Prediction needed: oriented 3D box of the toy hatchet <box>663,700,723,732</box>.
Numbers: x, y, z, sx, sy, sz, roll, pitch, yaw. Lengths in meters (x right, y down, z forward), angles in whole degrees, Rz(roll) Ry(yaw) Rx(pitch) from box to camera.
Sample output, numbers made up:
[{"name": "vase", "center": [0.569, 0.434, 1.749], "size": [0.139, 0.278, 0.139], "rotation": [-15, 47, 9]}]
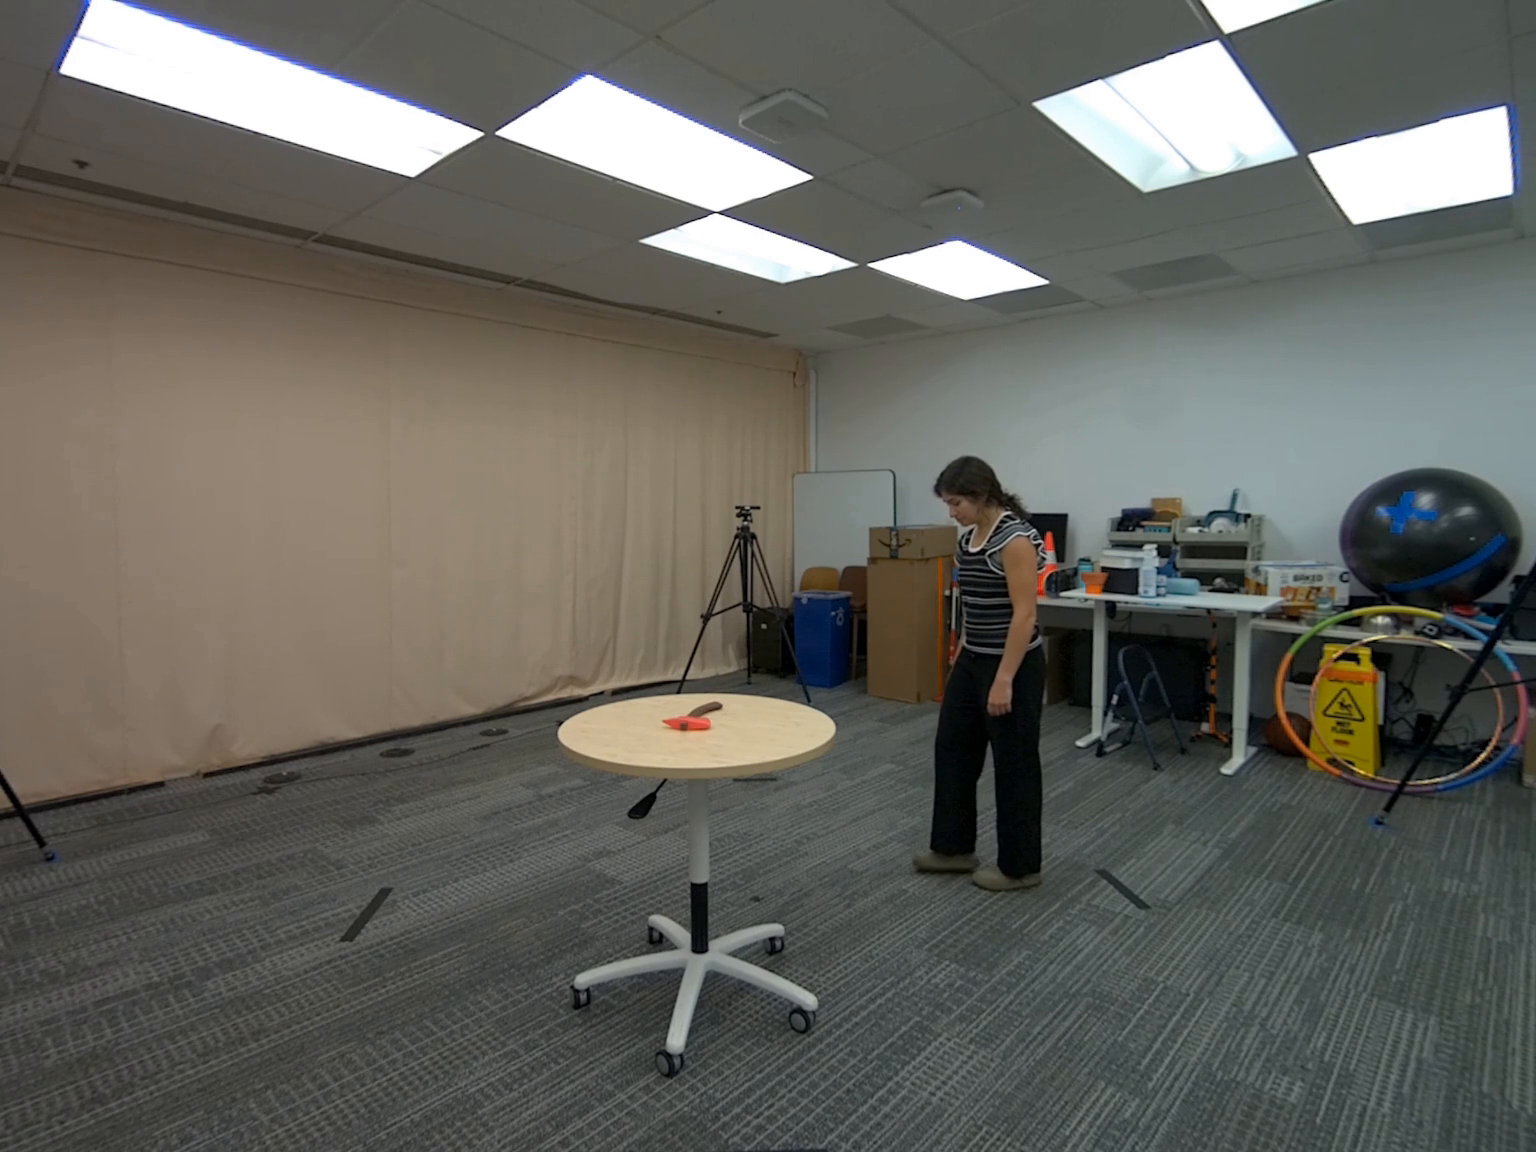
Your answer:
[{"name": "toy hatchet", "center": [-0.176, 0.395, 2.402], "size": [0.135, 0.029, 0.263], "rotation": [3, 5, 29]}]
